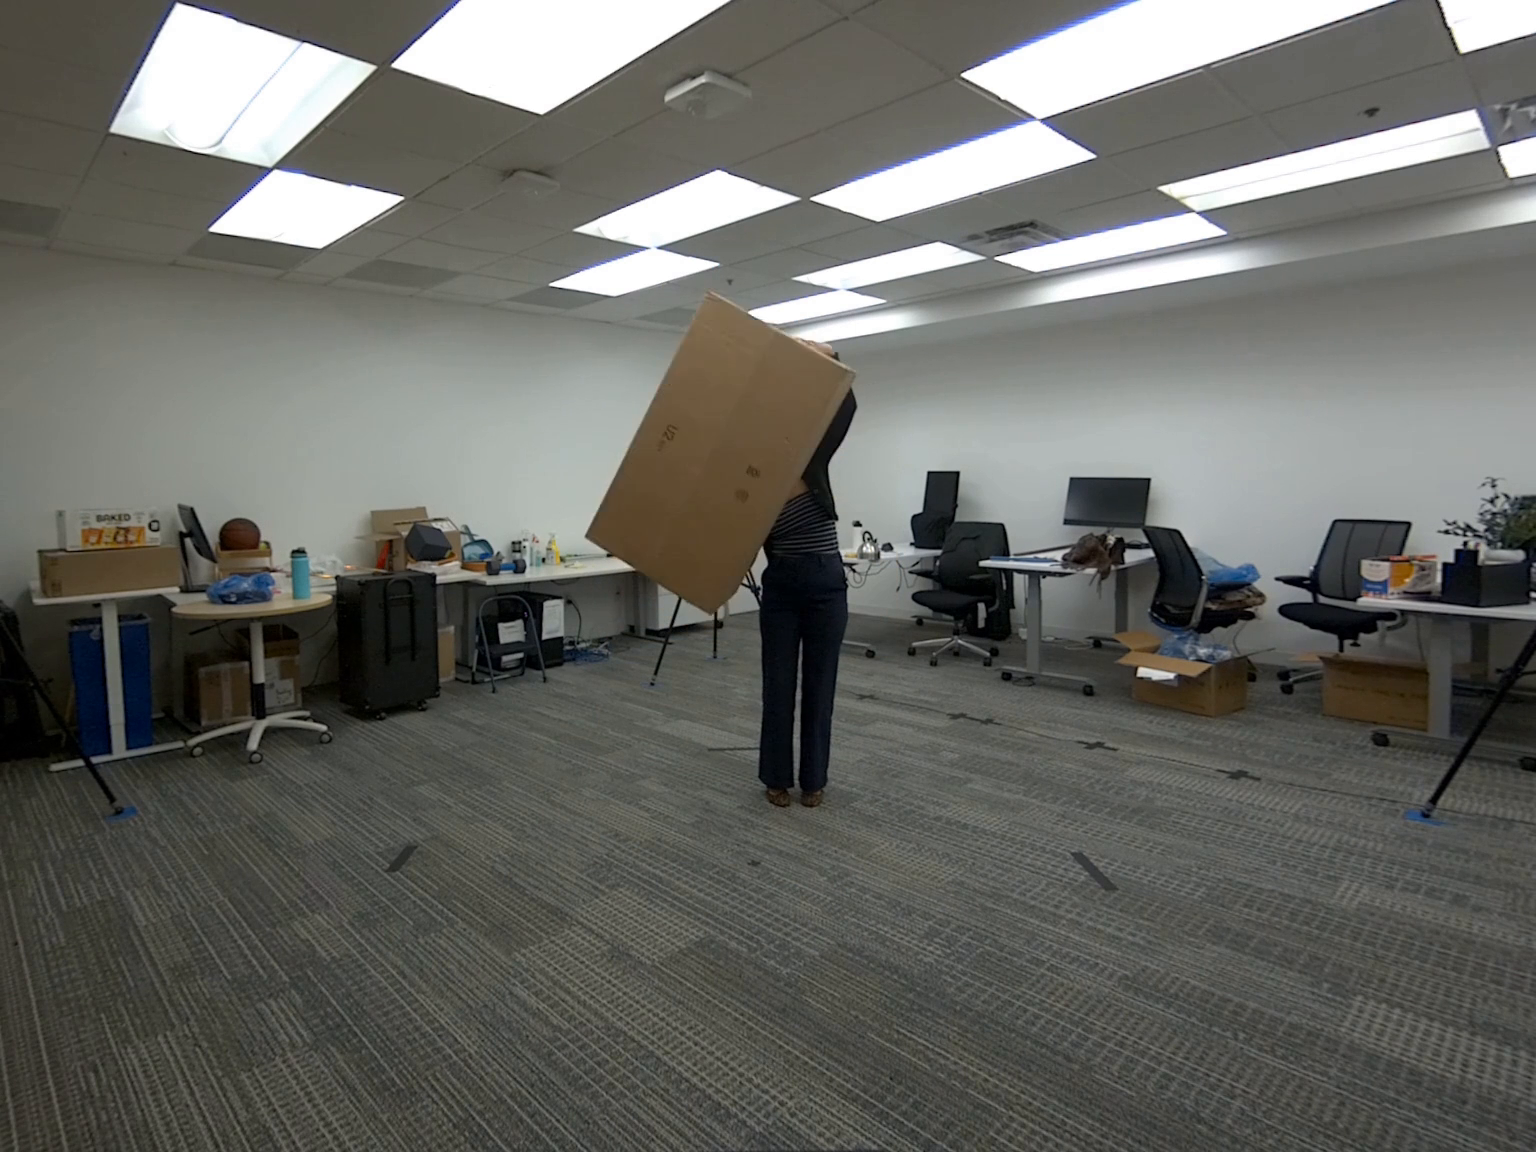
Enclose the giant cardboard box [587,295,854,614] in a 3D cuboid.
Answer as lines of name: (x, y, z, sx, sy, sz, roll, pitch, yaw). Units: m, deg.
giant cardboard box: (-0.177, -0.463, 3.294, 0.583, 1.021, 0.424, 31, 14, 7)
